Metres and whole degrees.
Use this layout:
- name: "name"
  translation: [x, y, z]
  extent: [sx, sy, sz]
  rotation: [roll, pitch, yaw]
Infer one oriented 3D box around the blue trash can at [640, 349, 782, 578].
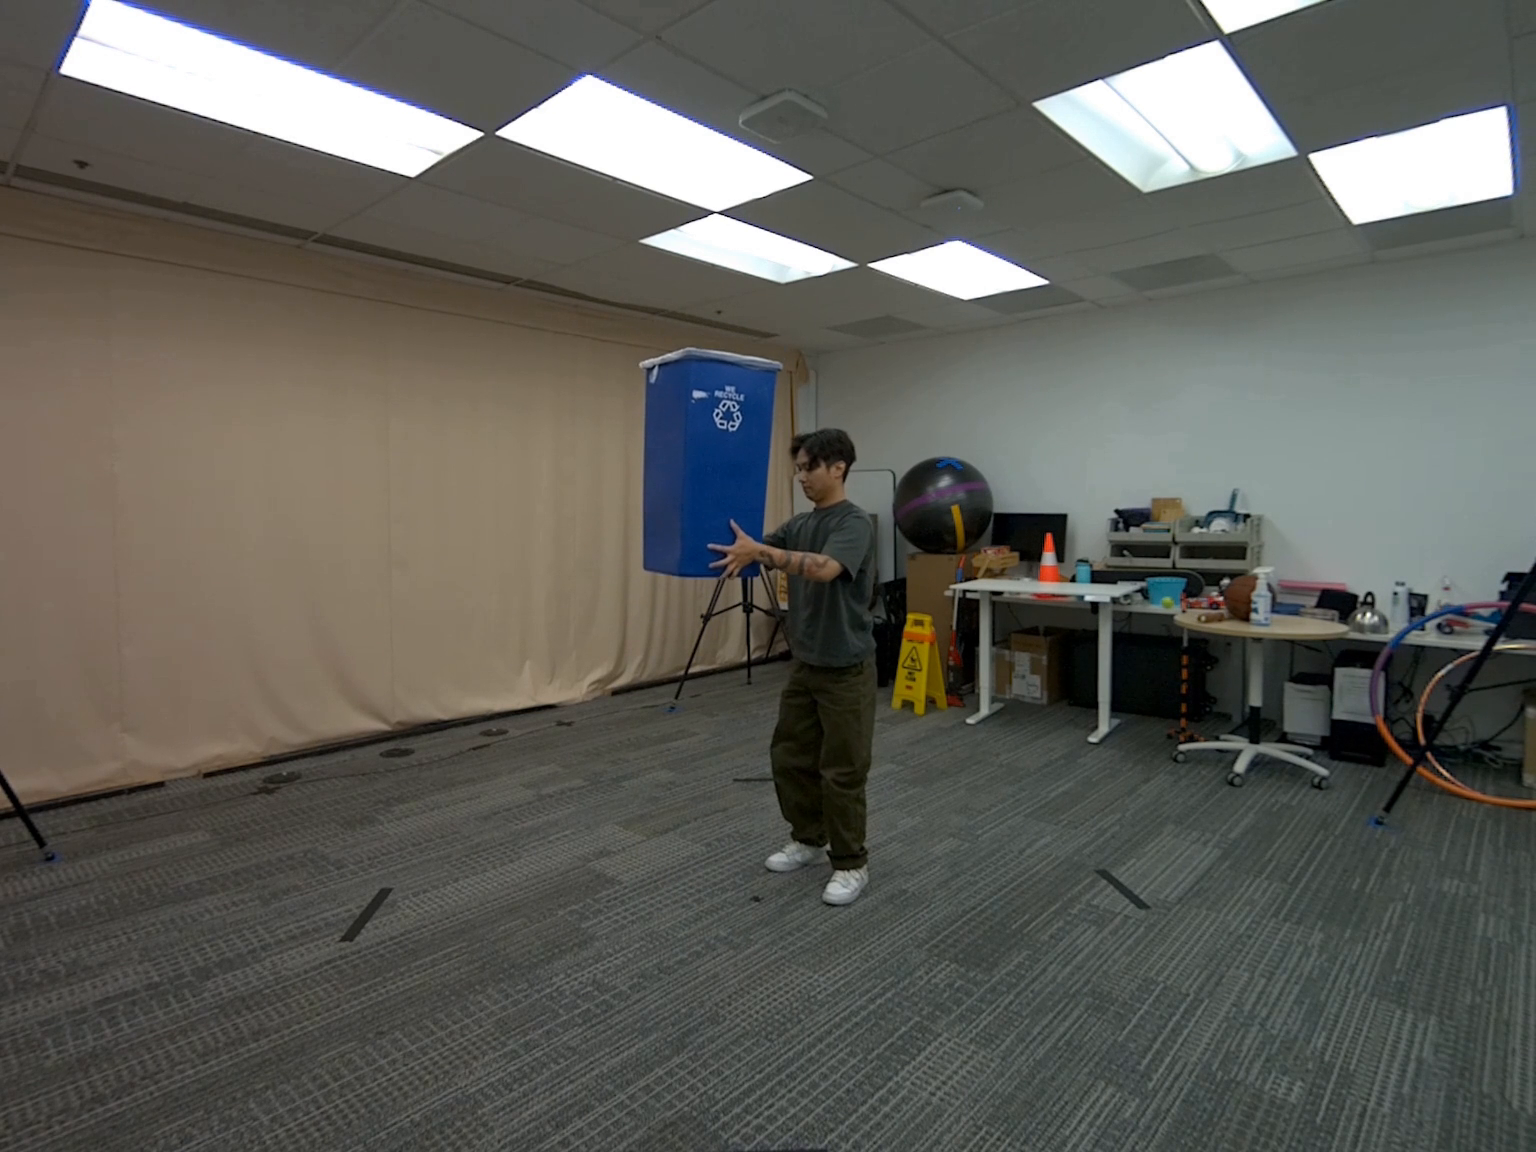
- name: "blue trash can"
  translation: [-0.204, -0.367, 2.844]
  extent: [0.367, 0.712, 0.386]
  rotation: [2, 3, -33]
